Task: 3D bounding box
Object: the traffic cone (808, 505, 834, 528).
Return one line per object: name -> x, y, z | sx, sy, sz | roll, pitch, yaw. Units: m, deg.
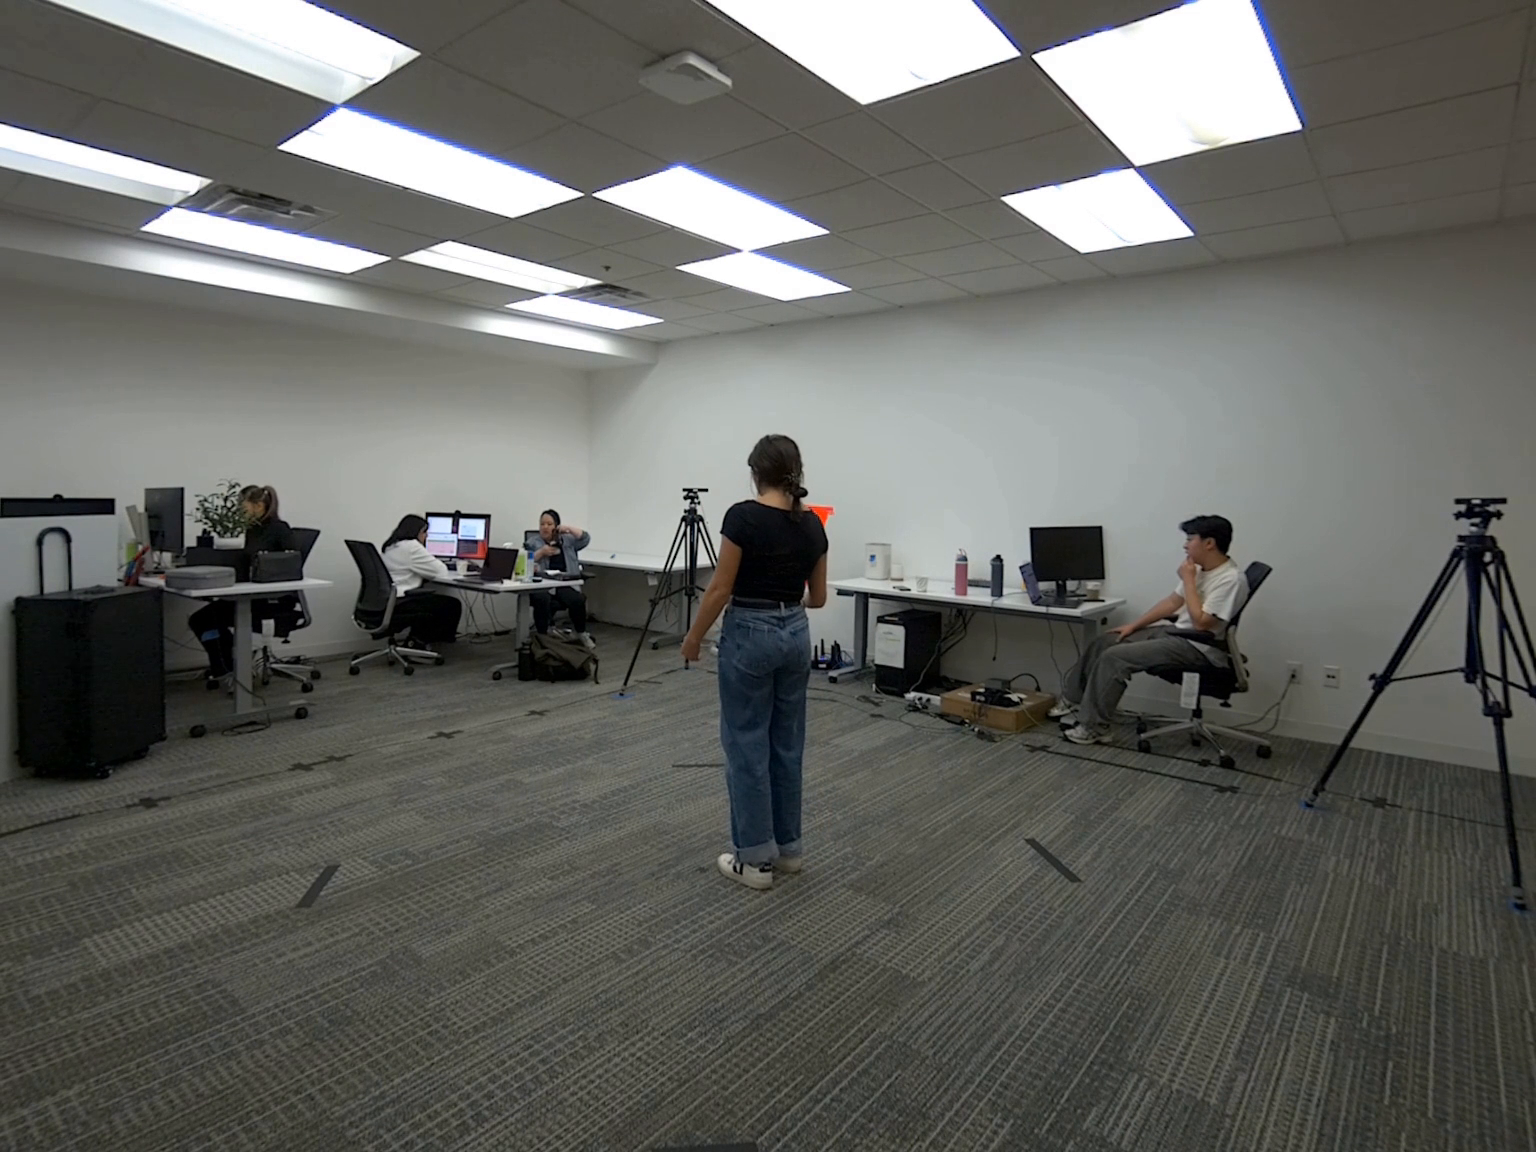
traffic cone -> 0.154, -0.096, 3.459 | 0.207, 0.385, 0.200 | 4, -5, 14
